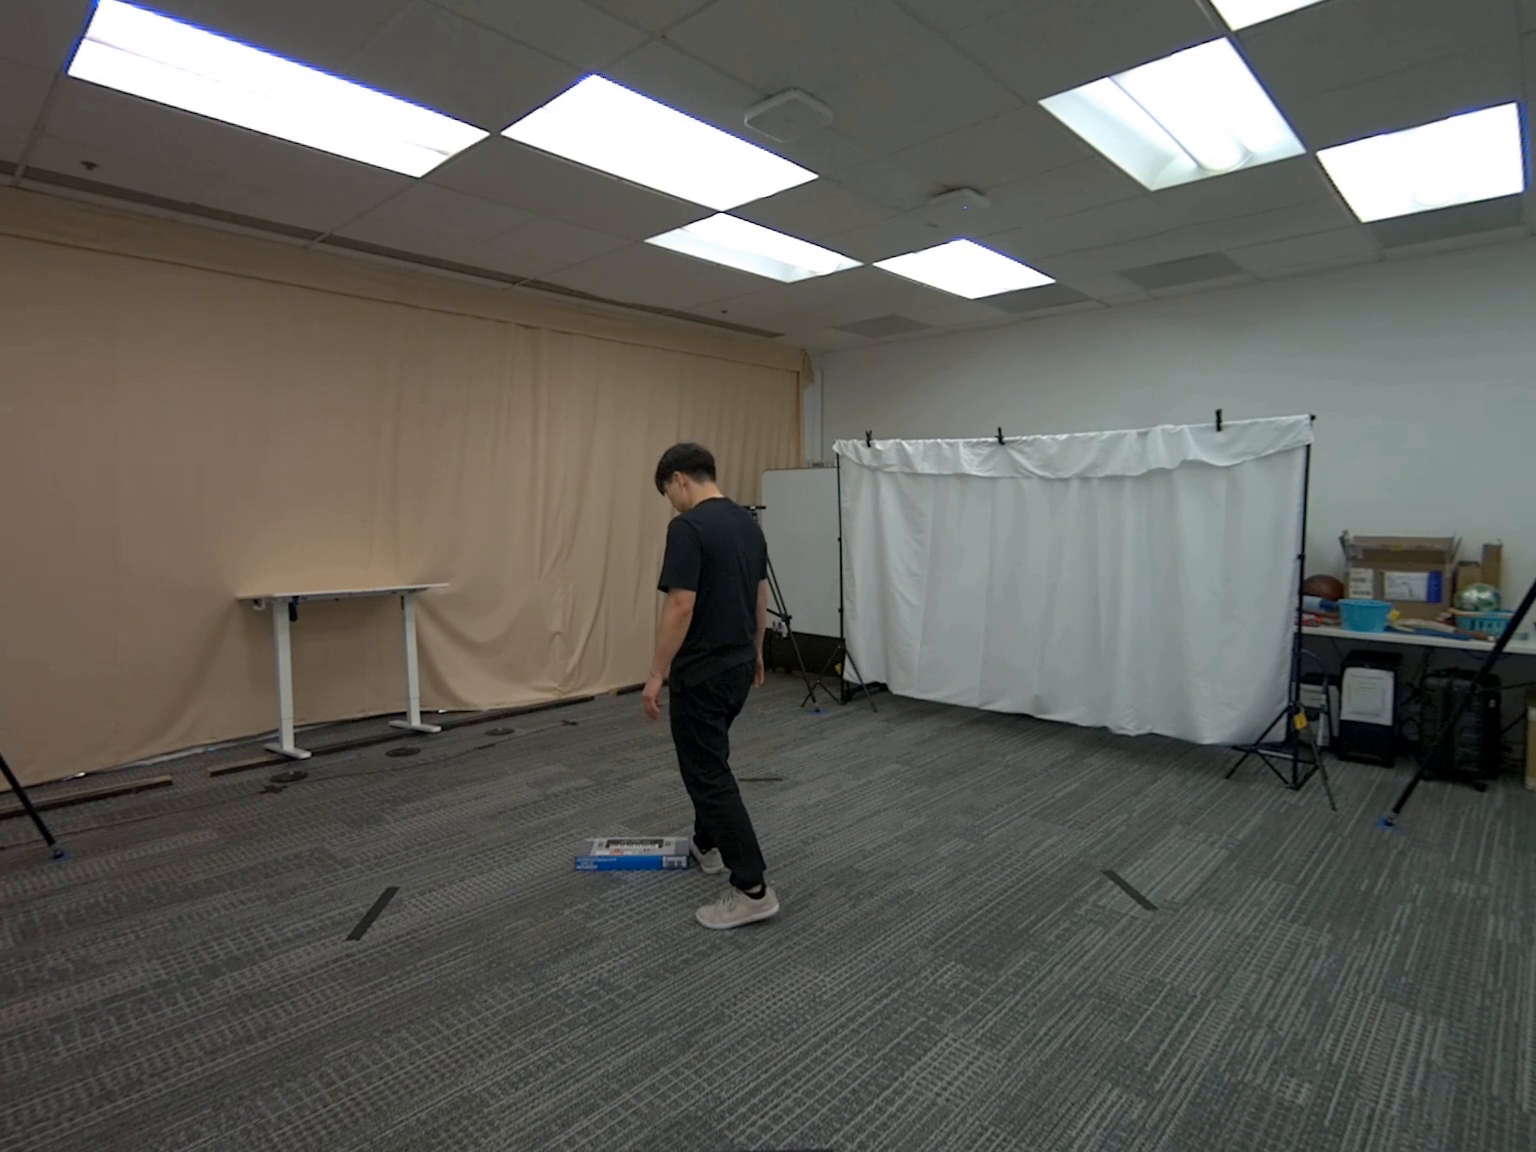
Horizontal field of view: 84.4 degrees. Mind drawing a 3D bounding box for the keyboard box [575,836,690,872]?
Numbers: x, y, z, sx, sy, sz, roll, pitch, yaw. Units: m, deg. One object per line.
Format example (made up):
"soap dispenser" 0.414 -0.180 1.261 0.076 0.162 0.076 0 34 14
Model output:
"keyboard box" -0.527 1.093 3.310 0.437 0.059 0.176 0 5 0
